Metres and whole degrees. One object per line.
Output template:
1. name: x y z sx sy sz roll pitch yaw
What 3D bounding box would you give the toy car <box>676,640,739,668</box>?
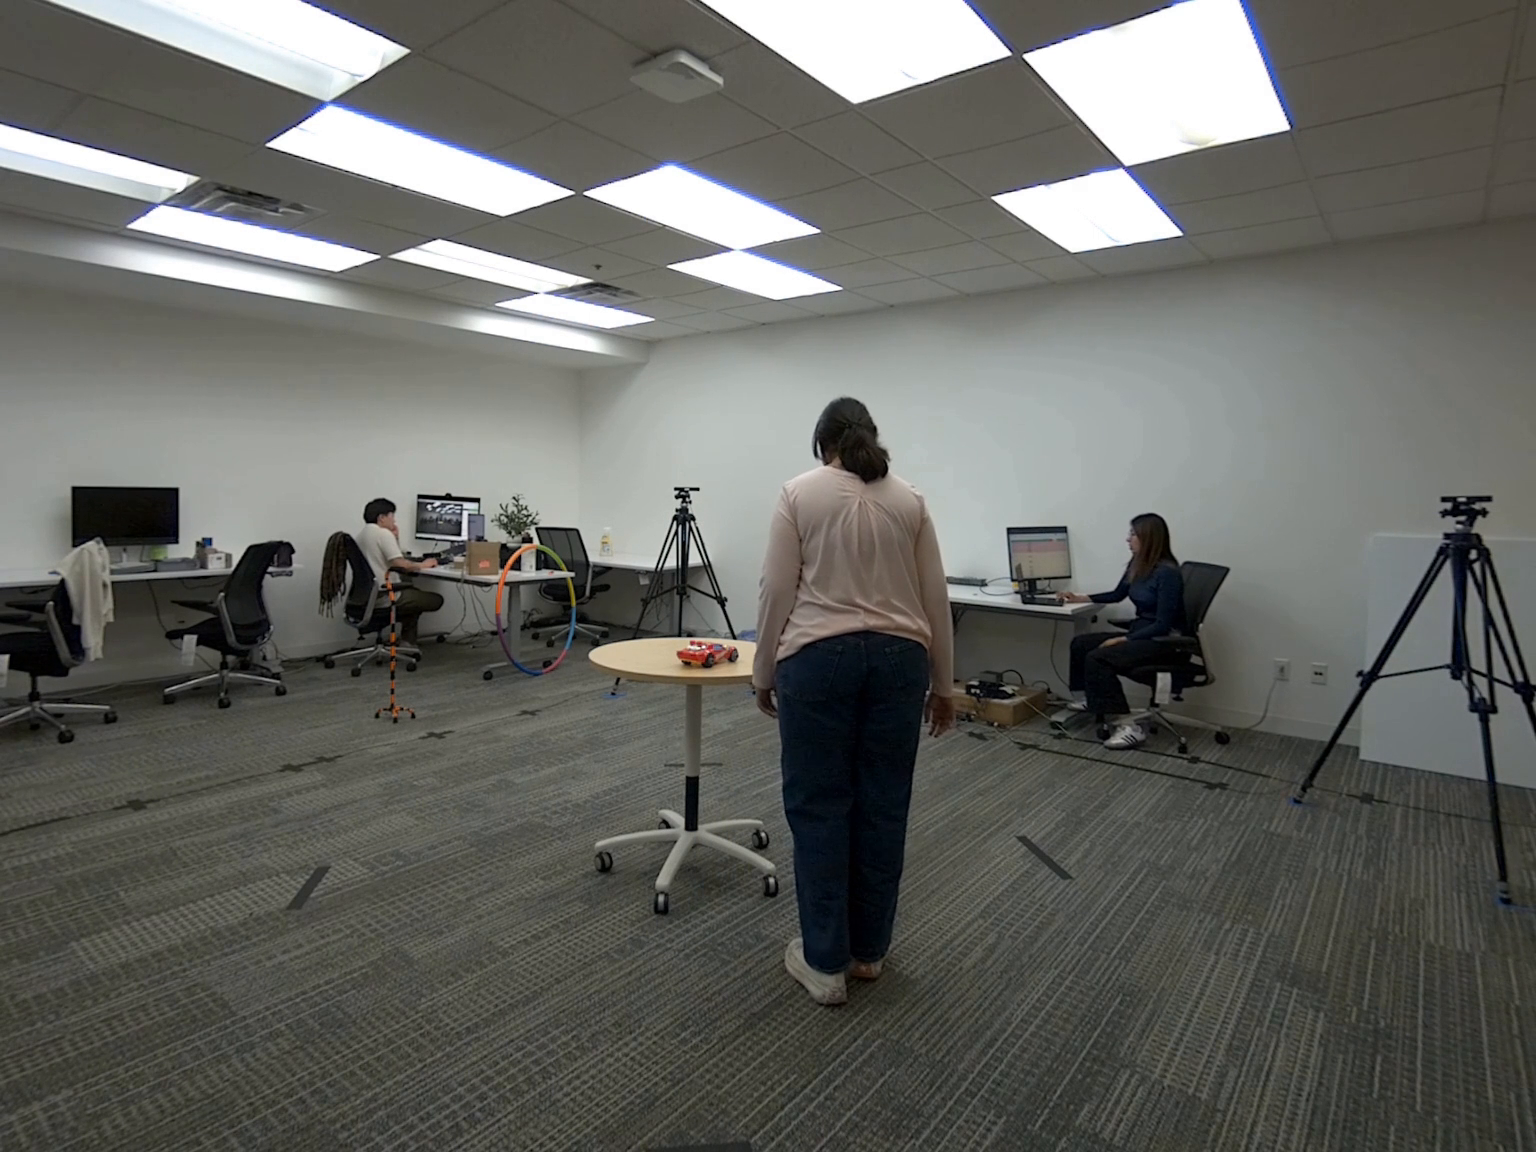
1. toy car: -0.224 0.268 2.928 0.134 0.083 0.245 4 -6 34
